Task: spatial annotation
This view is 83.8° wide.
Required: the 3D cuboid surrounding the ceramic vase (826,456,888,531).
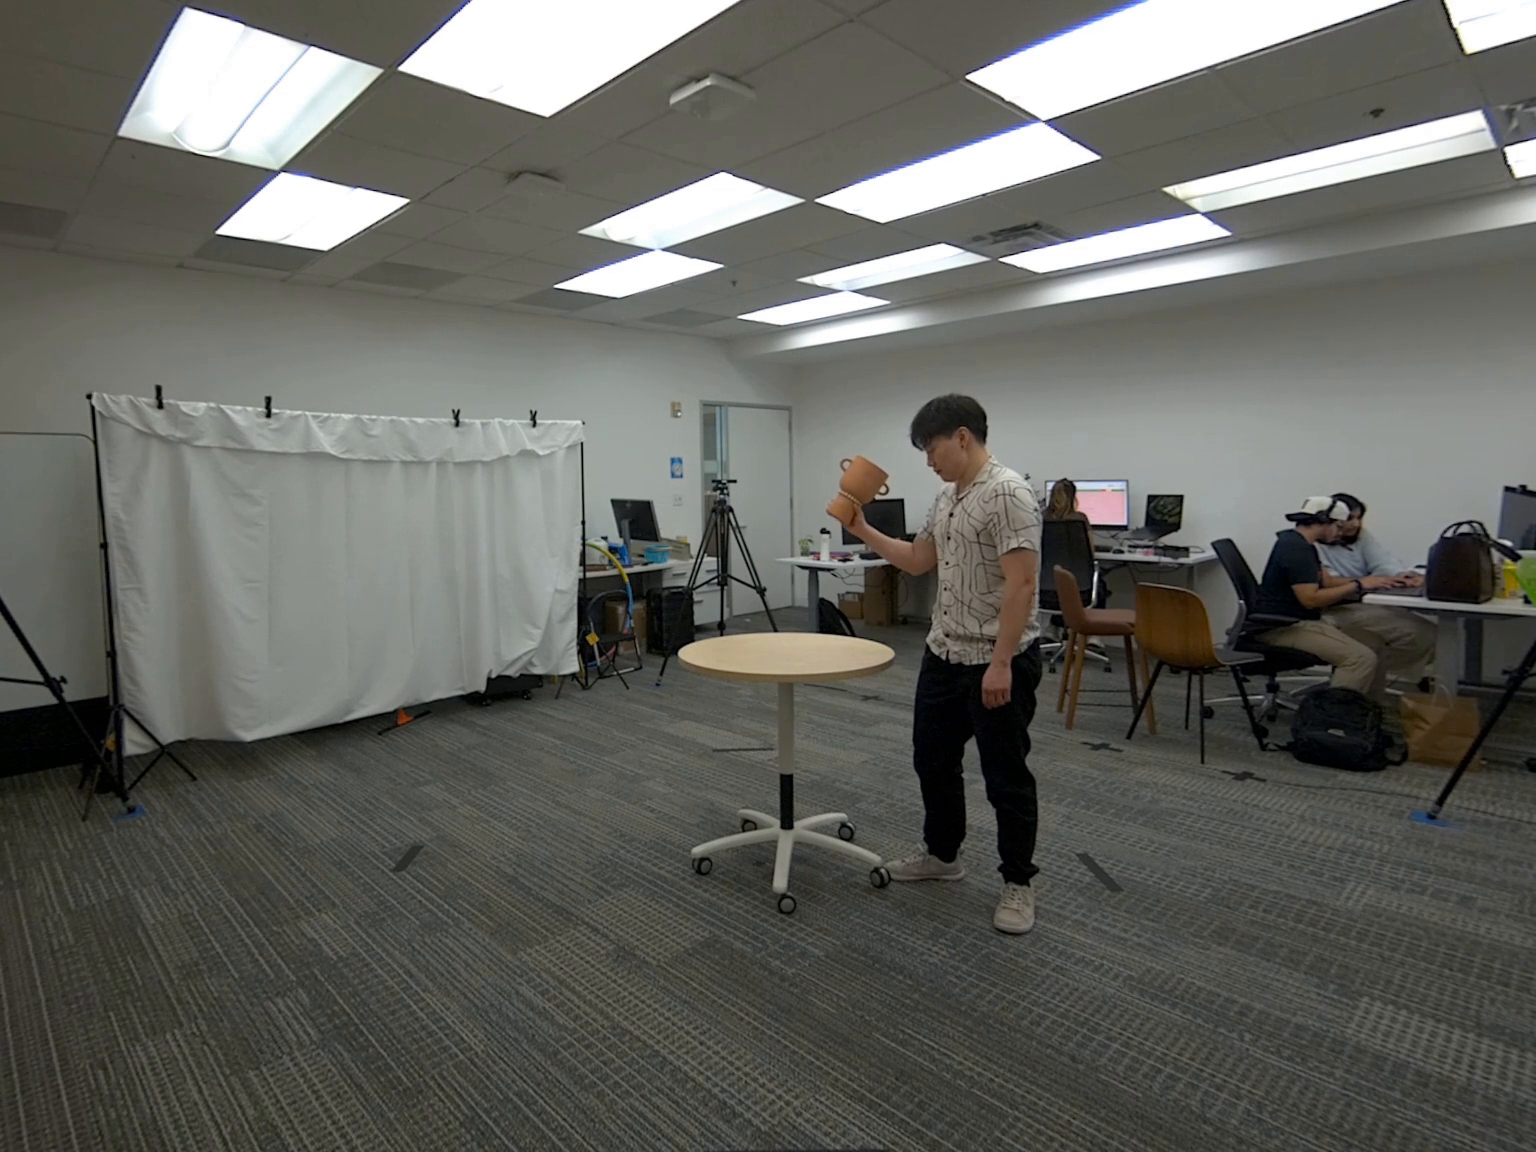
[{"bbox_3d":[0.308,-0.292,2.957,0.165,0.219,0.130,36,5,33],"label":"ceramic vase"}]
